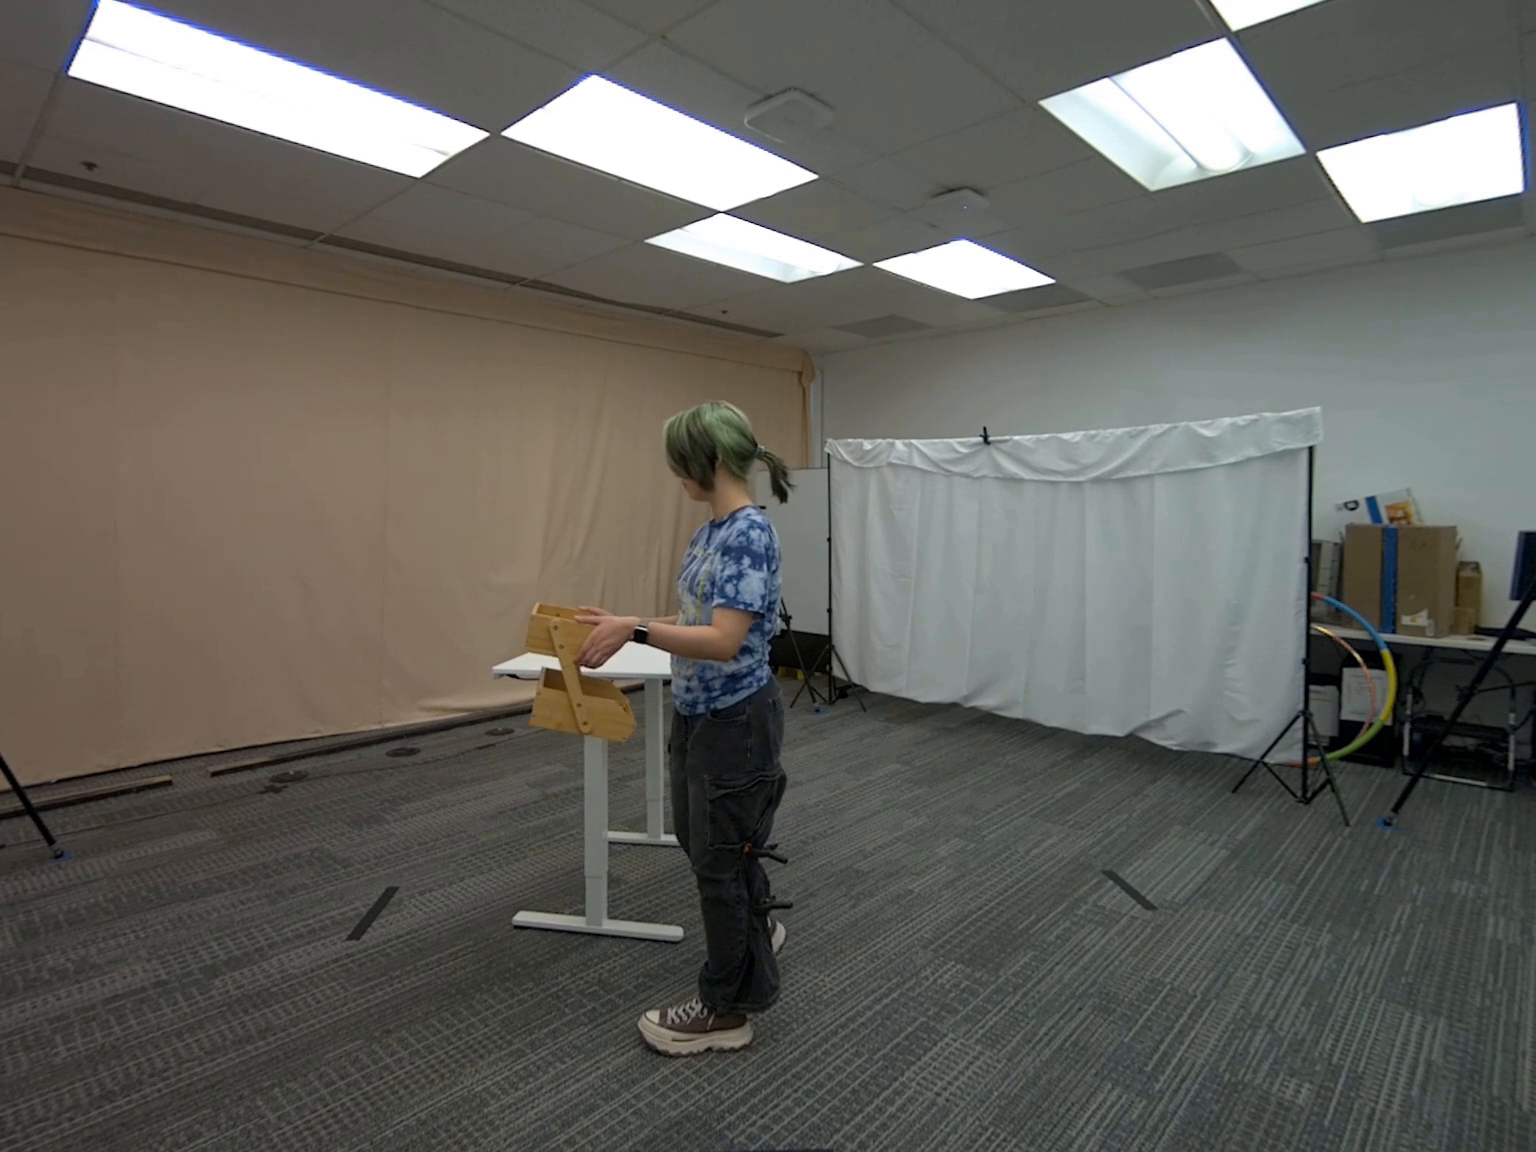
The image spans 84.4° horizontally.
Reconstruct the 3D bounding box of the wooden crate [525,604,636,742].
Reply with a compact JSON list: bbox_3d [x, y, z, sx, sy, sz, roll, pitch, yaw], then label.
[{"bbox_3d":[-0.465,0.233,2.138,0.298,0.273,0.329,12,0,-13],"label":"wooden crate"}]
